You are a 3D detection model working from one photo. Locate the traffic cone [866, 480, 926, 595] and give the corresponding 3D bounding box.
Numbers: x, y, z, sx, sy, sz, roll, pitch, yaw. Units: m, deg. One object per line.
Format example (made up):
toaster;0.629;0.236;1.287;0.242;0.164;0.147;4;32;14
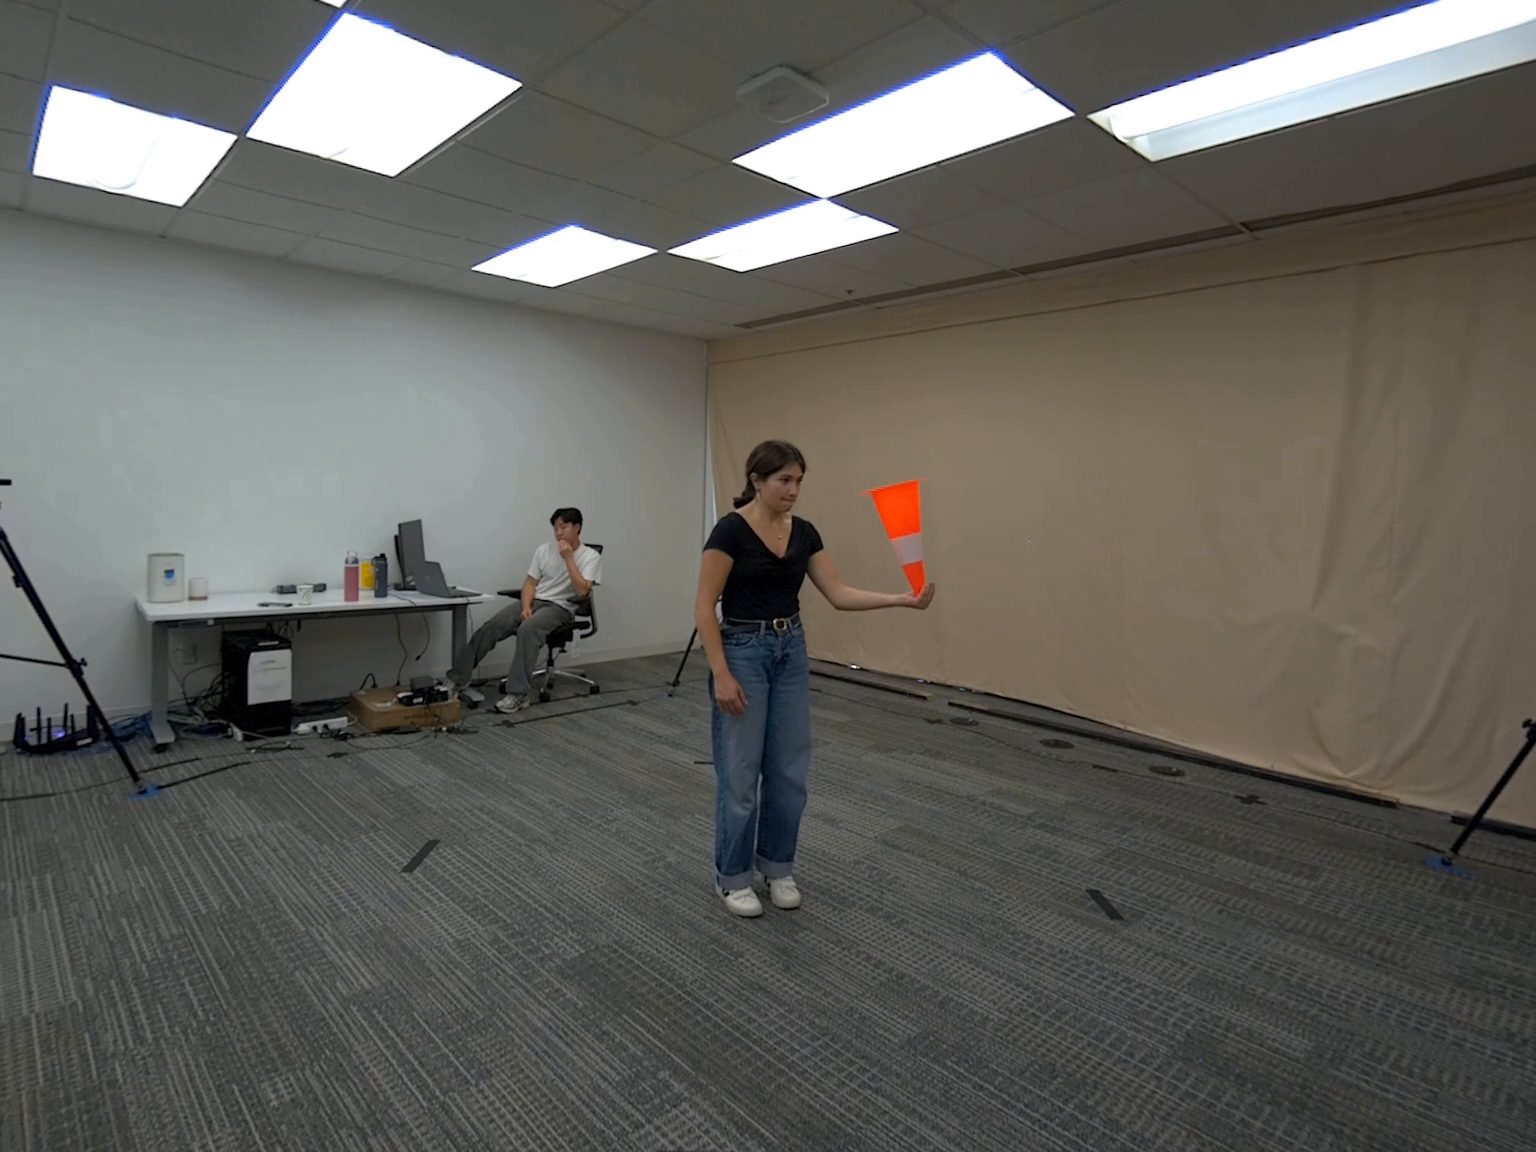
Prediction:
traffic cone;0.438;-0.094;2.721;0.205;0.385;0.202;-15;-4;19
